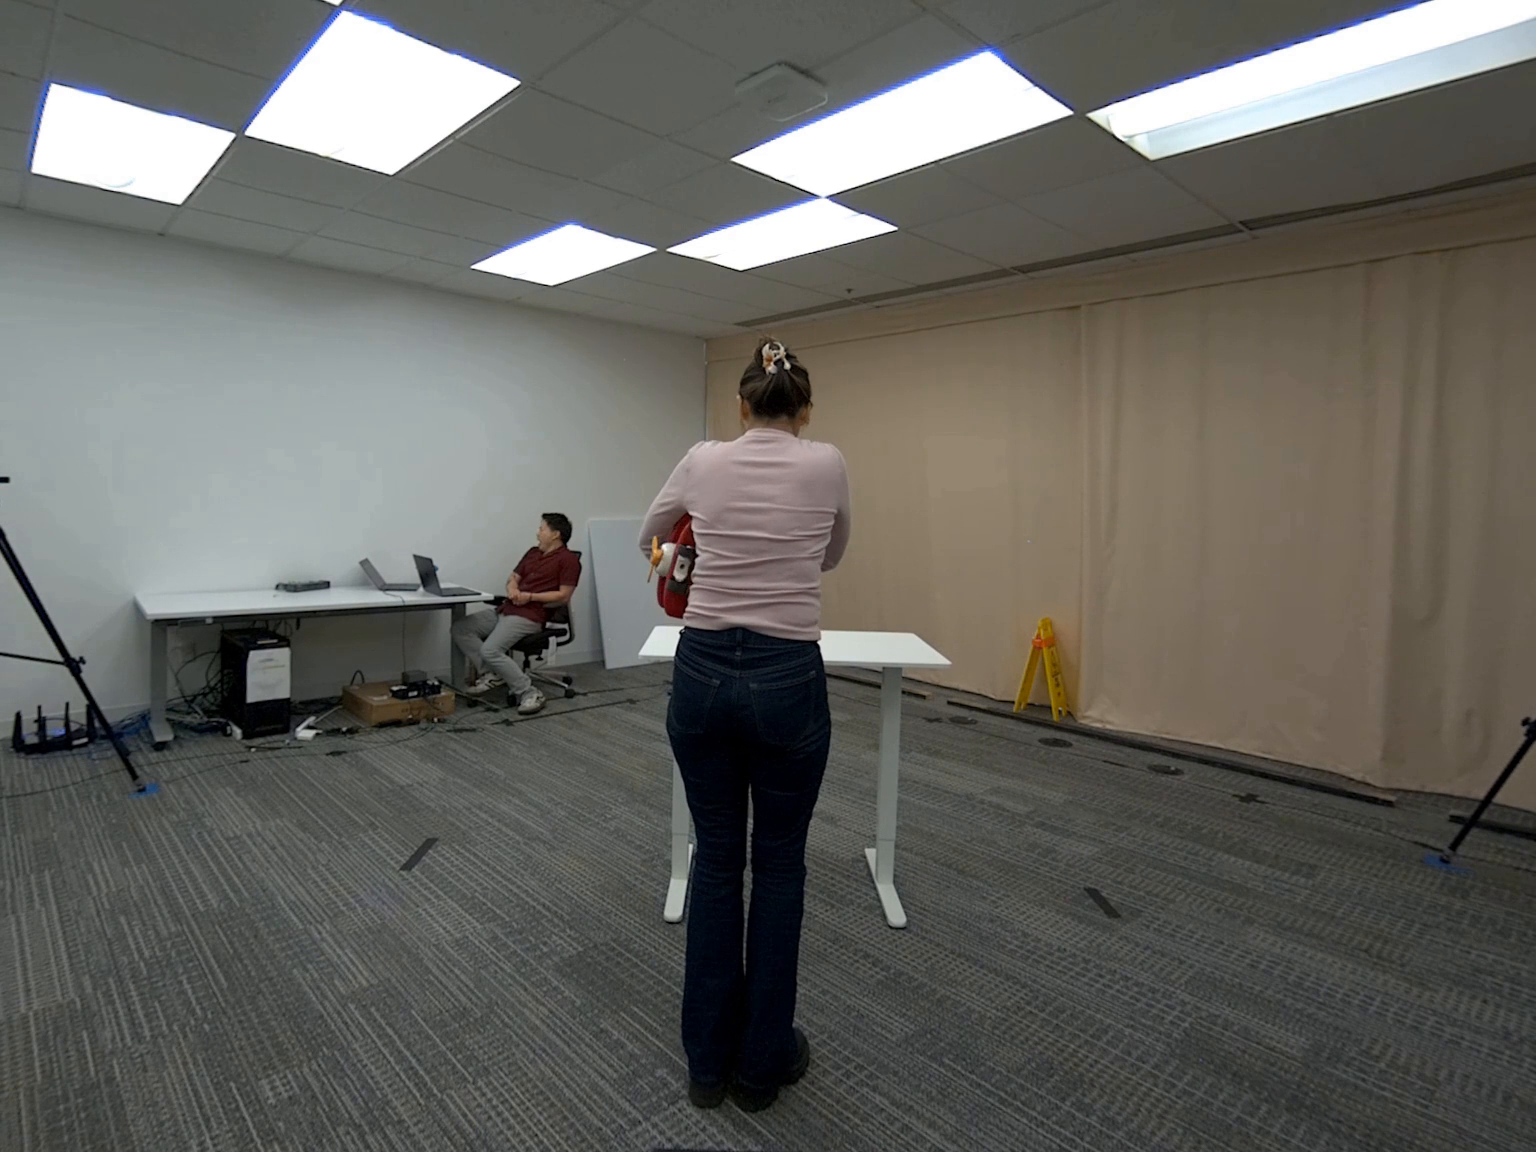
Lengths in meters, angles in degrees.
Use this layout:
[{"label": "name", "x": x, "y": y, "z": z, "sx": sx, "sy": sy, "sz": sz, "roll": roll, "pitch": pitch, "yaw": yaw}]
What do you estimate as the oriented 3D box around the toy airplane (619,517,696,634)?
[{"label": "toy airplane", "x": -0.167, "y": 0.012, "z": 2.078, "sx": 0.251, "sy": 0.251, "sz": 0.161, "roll": 47, "pitch": -8, "yaw": -34}]
